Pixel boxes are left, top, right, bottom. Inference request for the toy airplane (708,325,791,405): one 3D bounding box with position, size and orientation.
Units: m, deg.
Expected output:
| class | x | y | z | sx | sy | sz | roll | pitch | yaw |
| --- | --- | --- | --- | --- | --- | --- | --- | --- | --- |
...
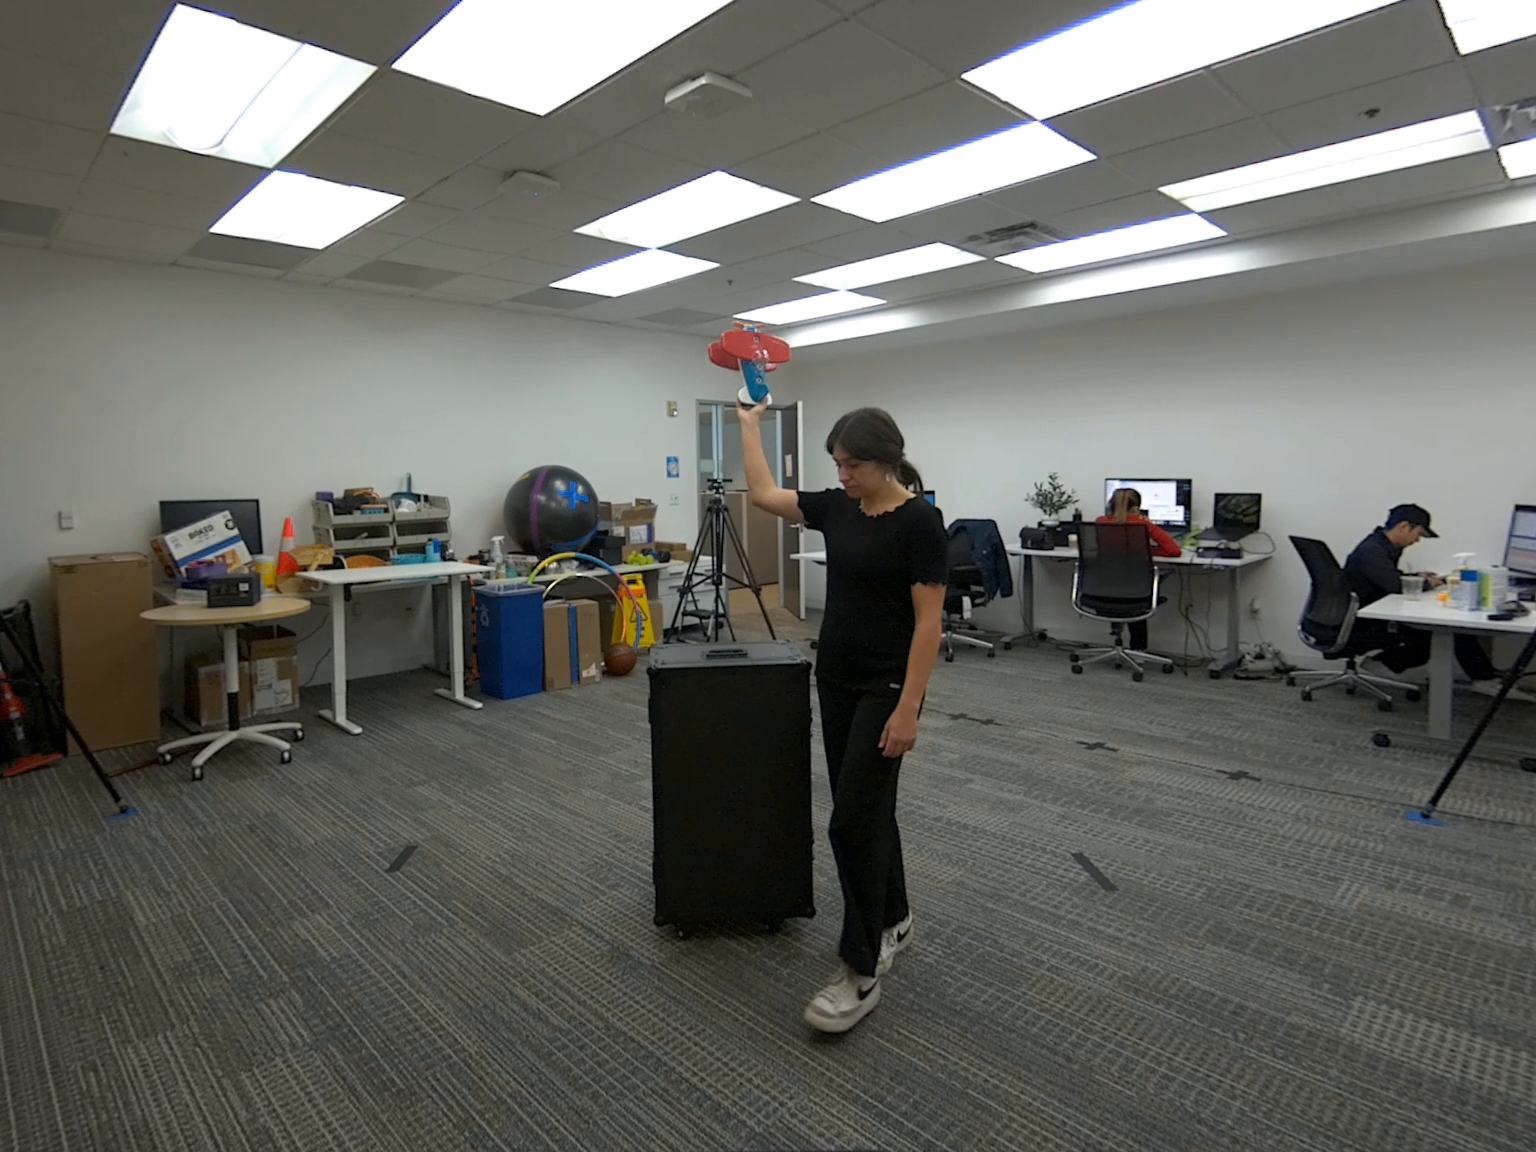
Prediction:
| class | x | y | z | sx | sy | sz | roll | pitch | yaw |
| --- | --- | --- | --- | --- | --- | --- | --- | --- | --- |
| toy airplane | -0.043 | -0.662 | 2.682 | 0.249 | 0.261 | 0.156 | -34 | -7 | -41 |
